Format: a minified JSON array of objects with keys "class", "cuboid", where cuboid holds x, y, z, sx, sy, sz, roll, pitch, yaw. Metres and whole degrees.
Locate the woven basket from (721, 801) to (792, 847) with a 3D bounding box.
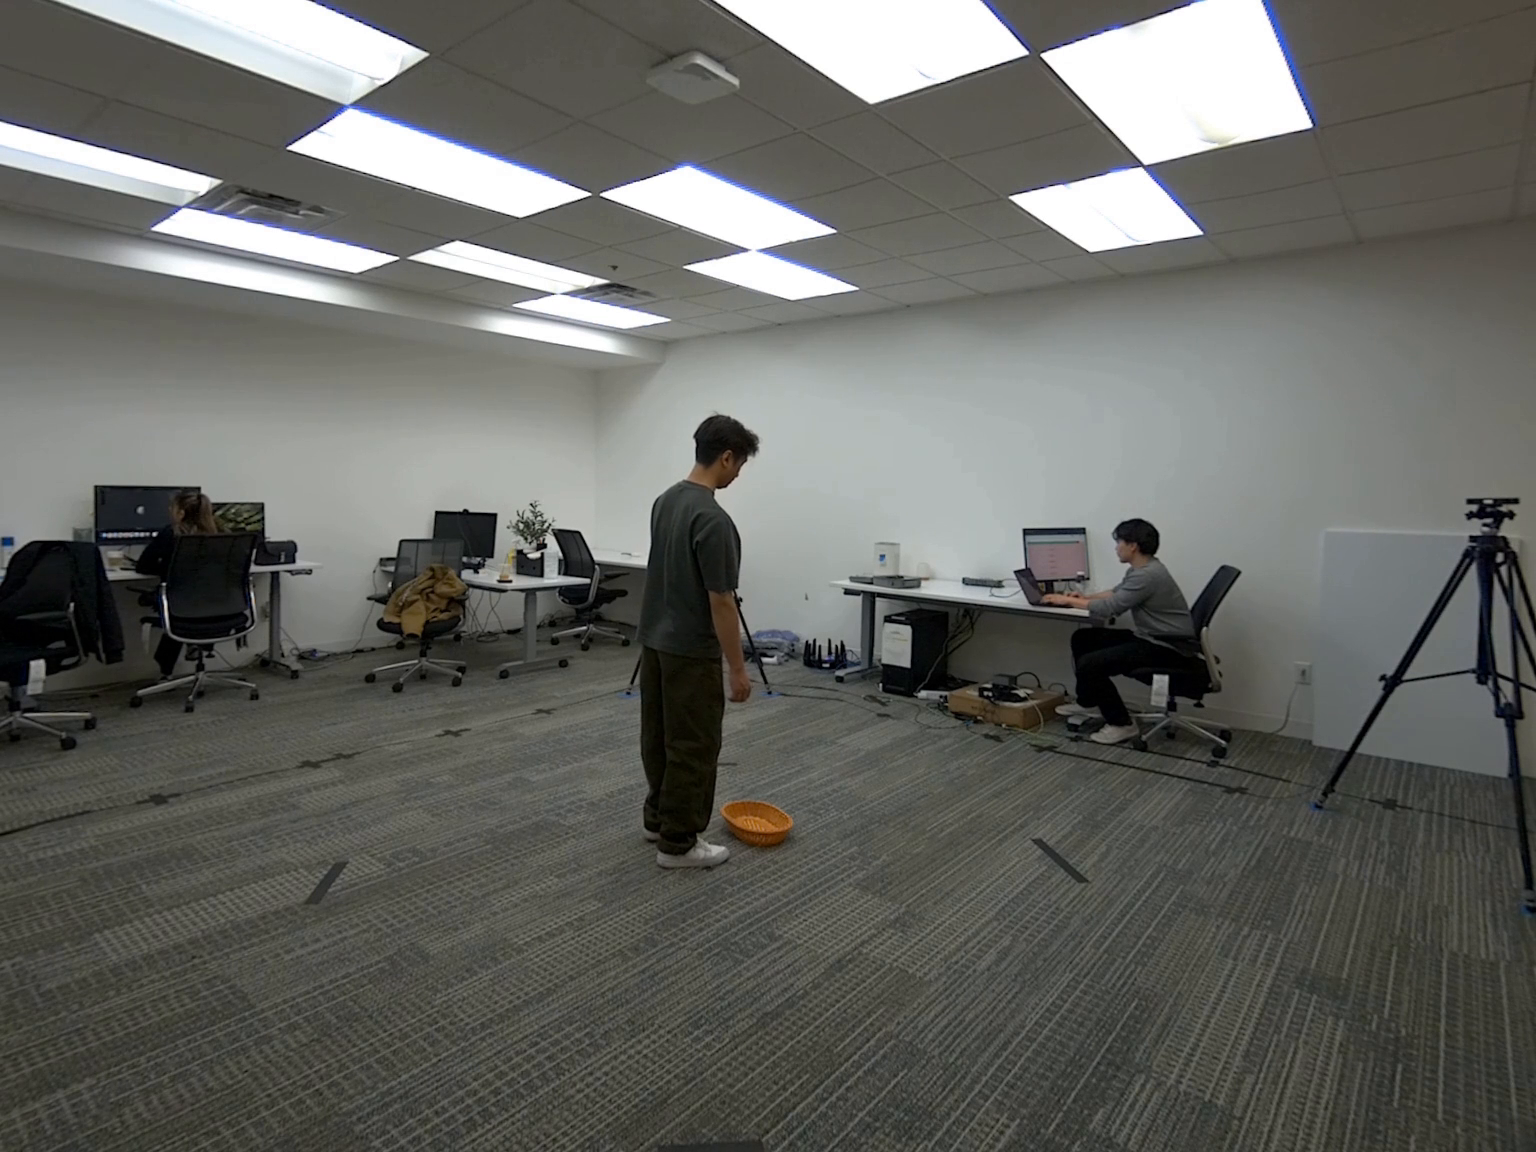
[{"class":"woven basket","cuboid":[-0.062,0.996,3.442,0.246,0.073,0.361,-1,6,-29]}]
